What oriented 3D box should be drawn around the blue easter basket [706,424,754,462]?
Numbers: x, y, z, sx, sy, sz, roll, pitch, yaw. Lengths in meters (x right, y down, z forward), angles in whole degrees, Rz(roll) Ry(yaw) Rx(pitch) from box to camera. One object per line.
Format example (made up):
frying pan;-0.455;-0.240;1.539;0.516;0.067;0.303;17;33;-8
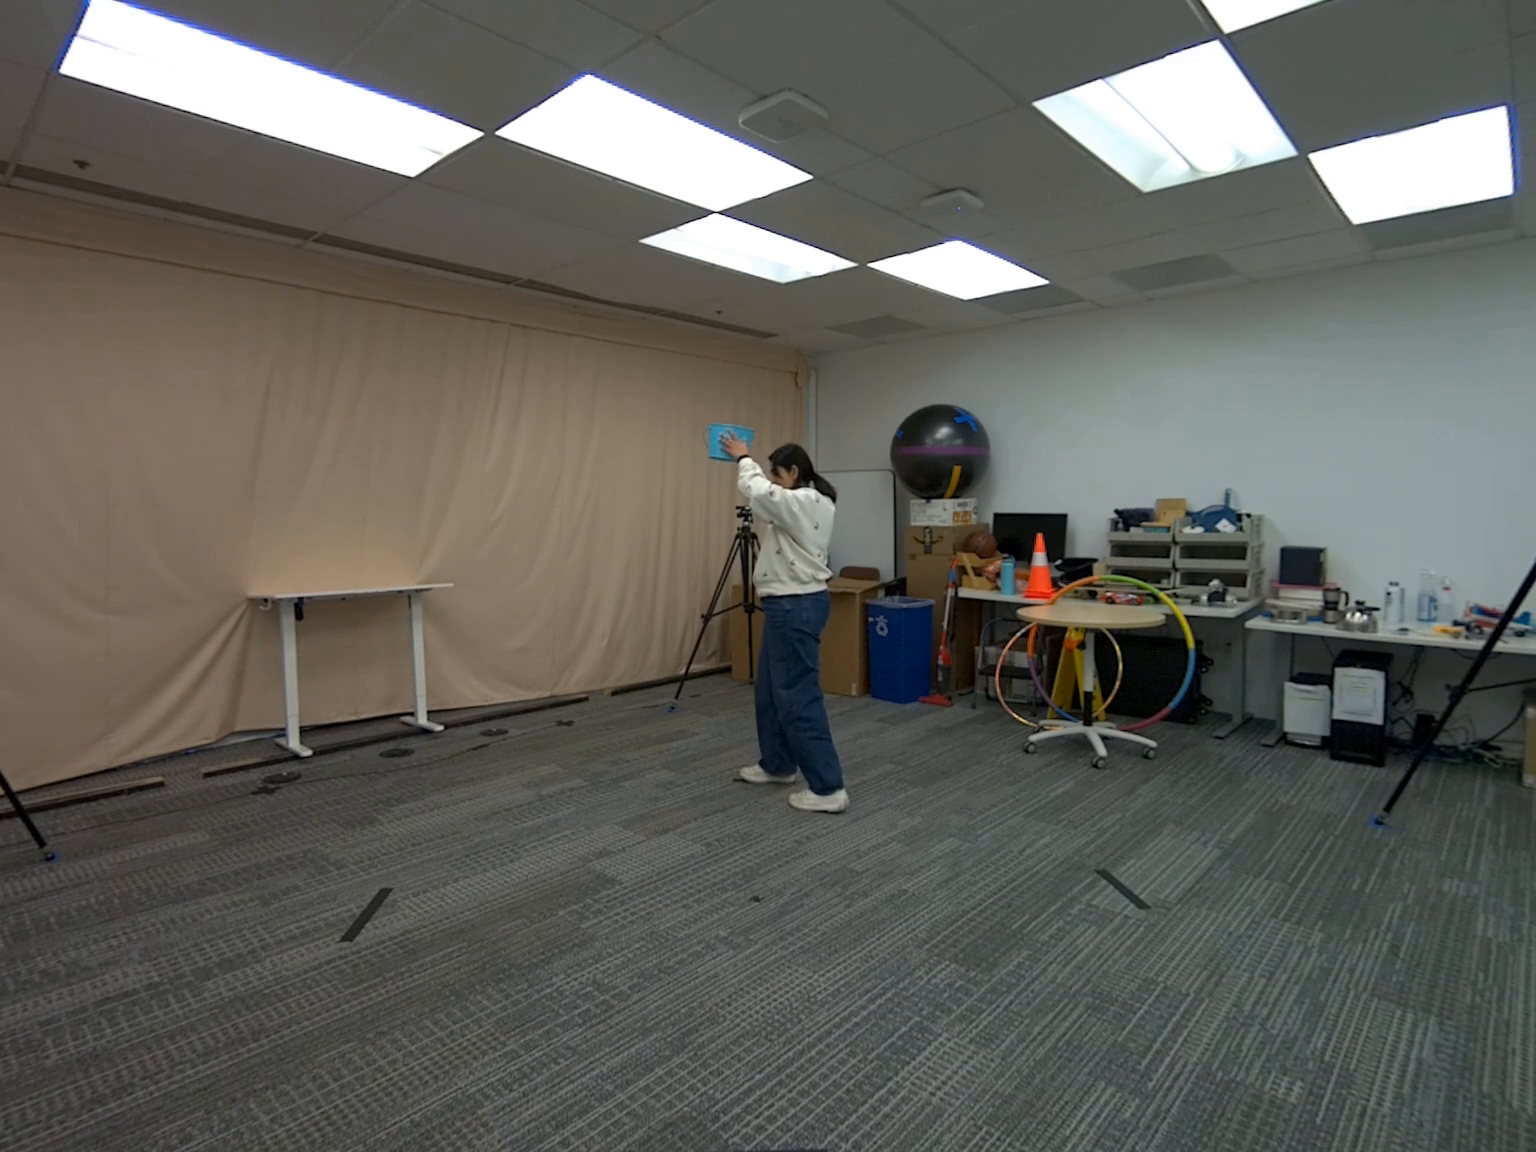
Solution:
blue easter basket;-0.187;-0.634;4.035;0.243;0.155;0.244;7;4;-2
